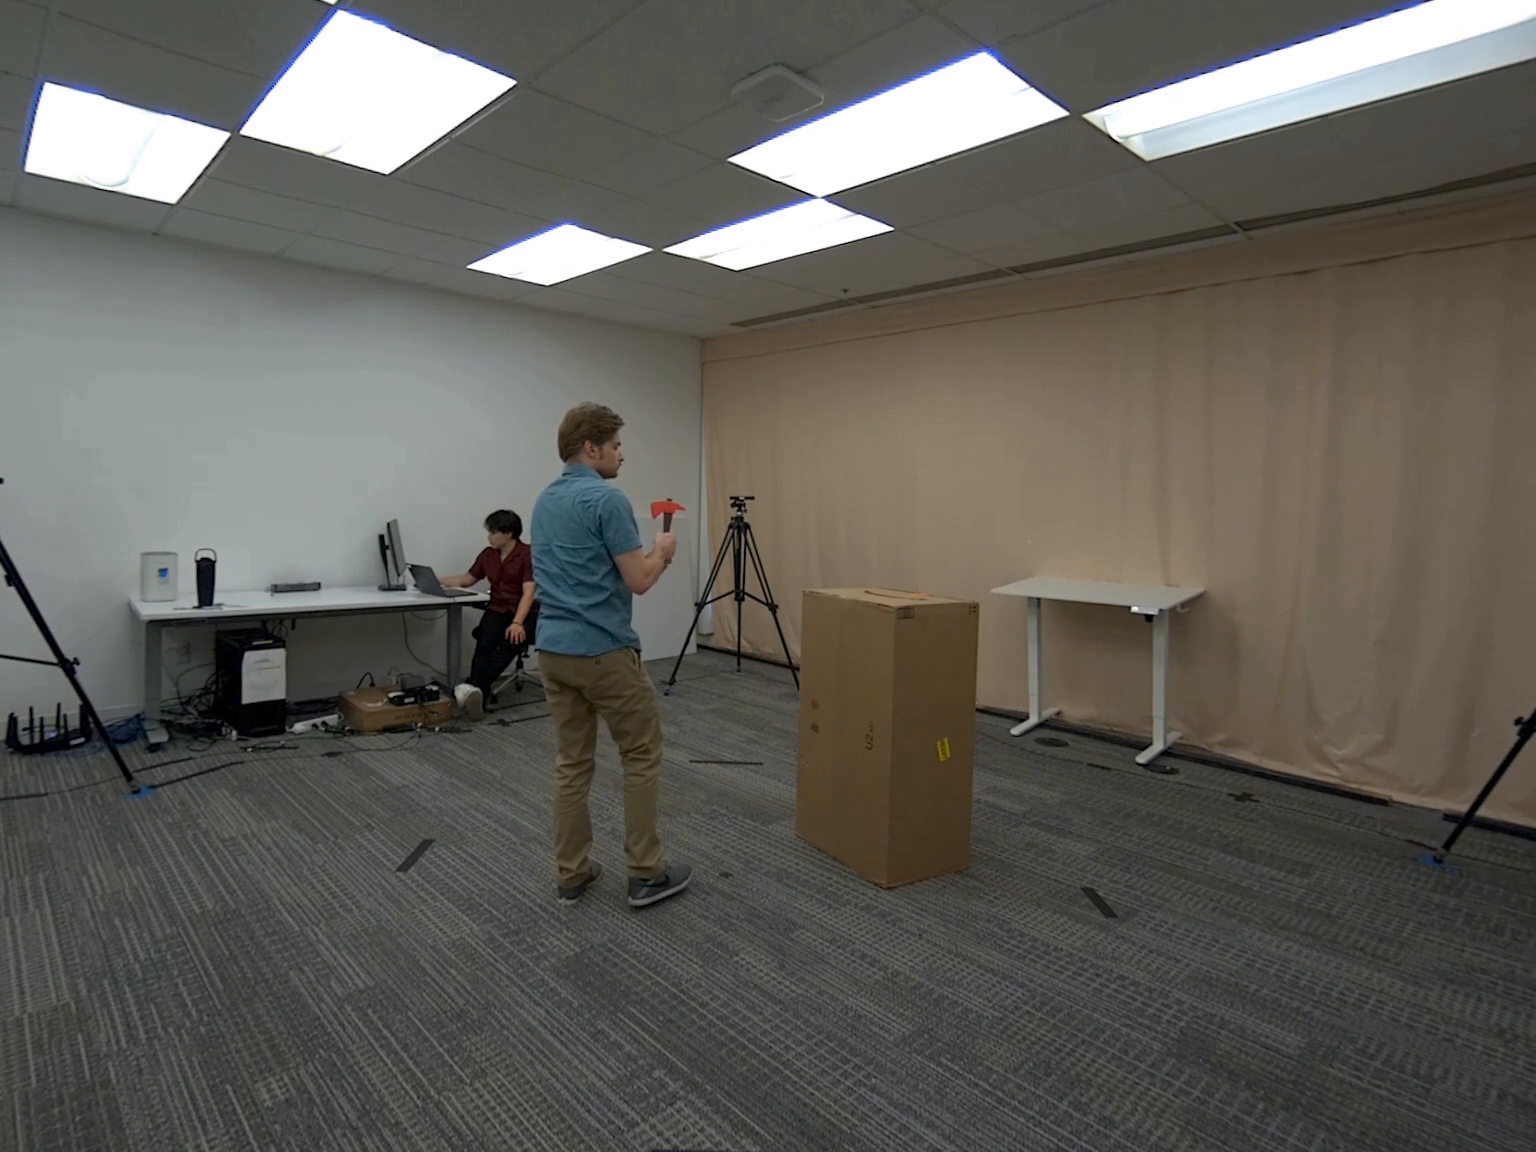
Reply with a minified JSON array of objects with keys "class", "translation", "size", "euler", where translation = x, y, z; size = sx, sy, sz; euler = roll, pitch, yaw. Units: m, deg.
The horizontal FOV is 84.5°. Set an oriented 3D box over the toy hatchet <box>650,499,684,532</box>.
[{"class":"toy hatchet","translation":[-0.418,-0.160,3.033],"size":[0.128,0.271,0.030],"euler":[28,-13,-21]}]
